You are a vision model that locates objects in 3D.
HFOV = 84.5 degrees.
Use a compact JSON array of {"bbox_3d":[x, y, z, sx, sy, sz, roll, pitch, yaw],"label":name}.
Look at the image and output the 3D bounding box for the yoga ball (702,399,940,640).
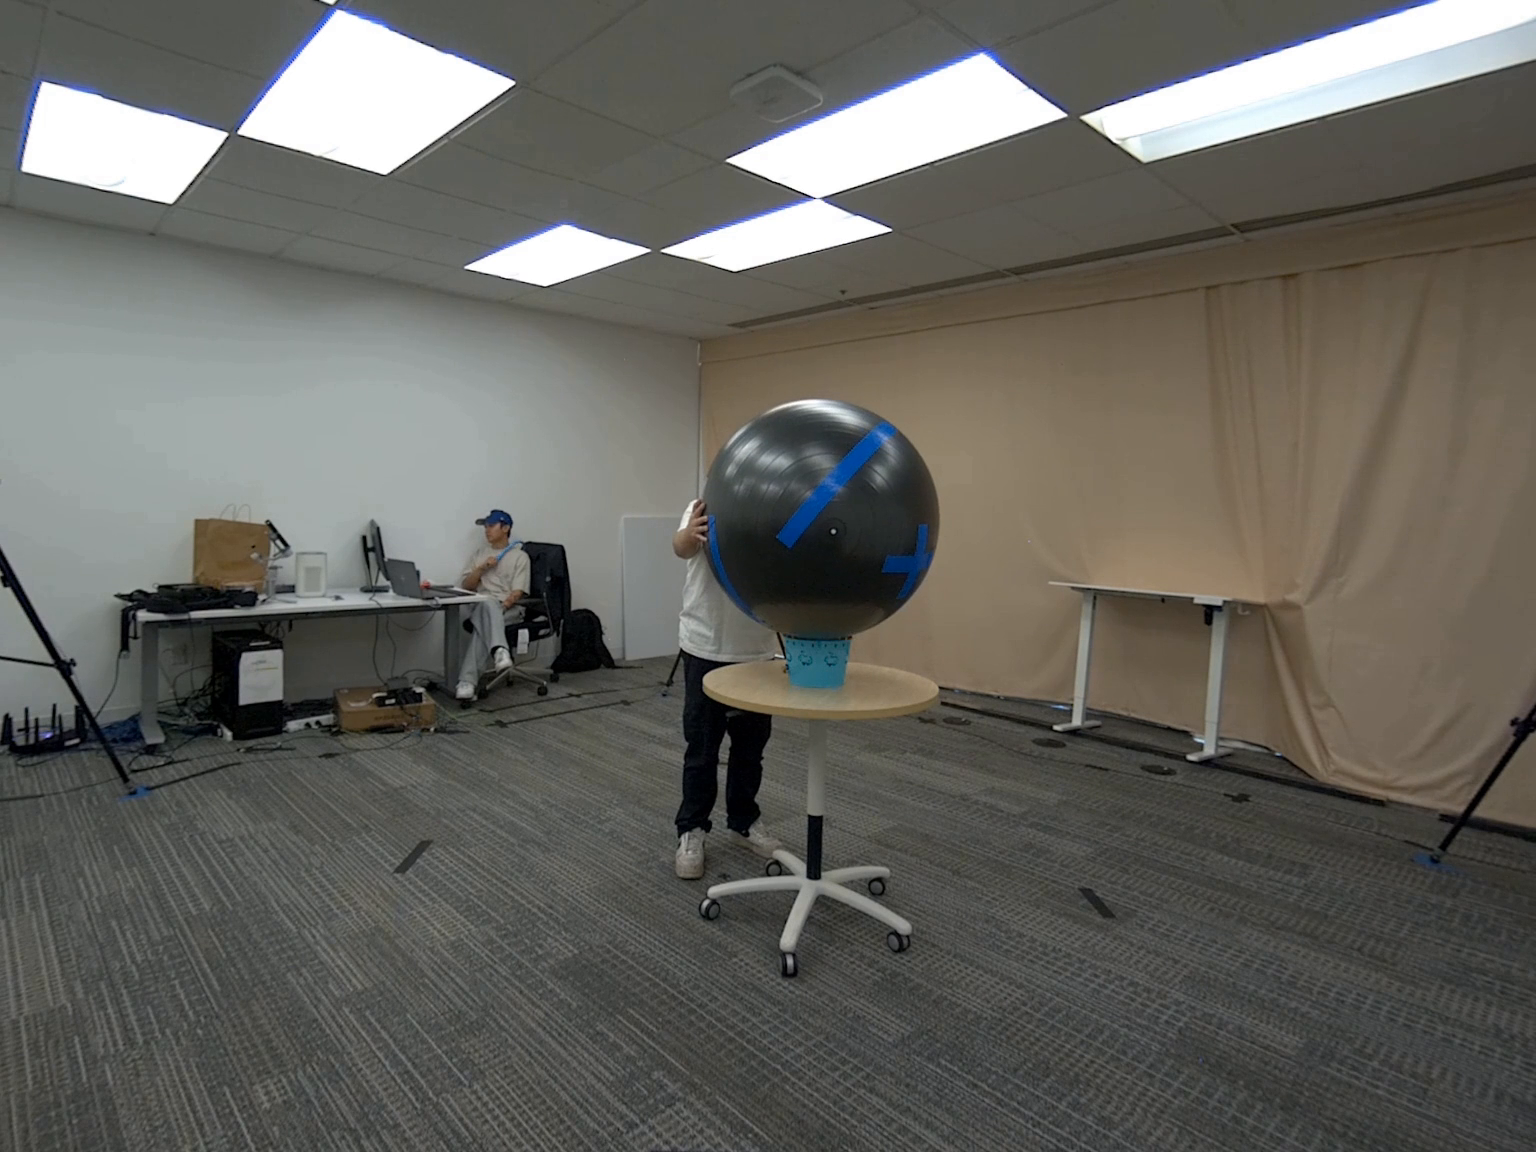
[{"bbox_3d":[0.159,-0.181,2.683,0.757,0.756,0.761,1,4,-1],"label":"yoga ball"}]
